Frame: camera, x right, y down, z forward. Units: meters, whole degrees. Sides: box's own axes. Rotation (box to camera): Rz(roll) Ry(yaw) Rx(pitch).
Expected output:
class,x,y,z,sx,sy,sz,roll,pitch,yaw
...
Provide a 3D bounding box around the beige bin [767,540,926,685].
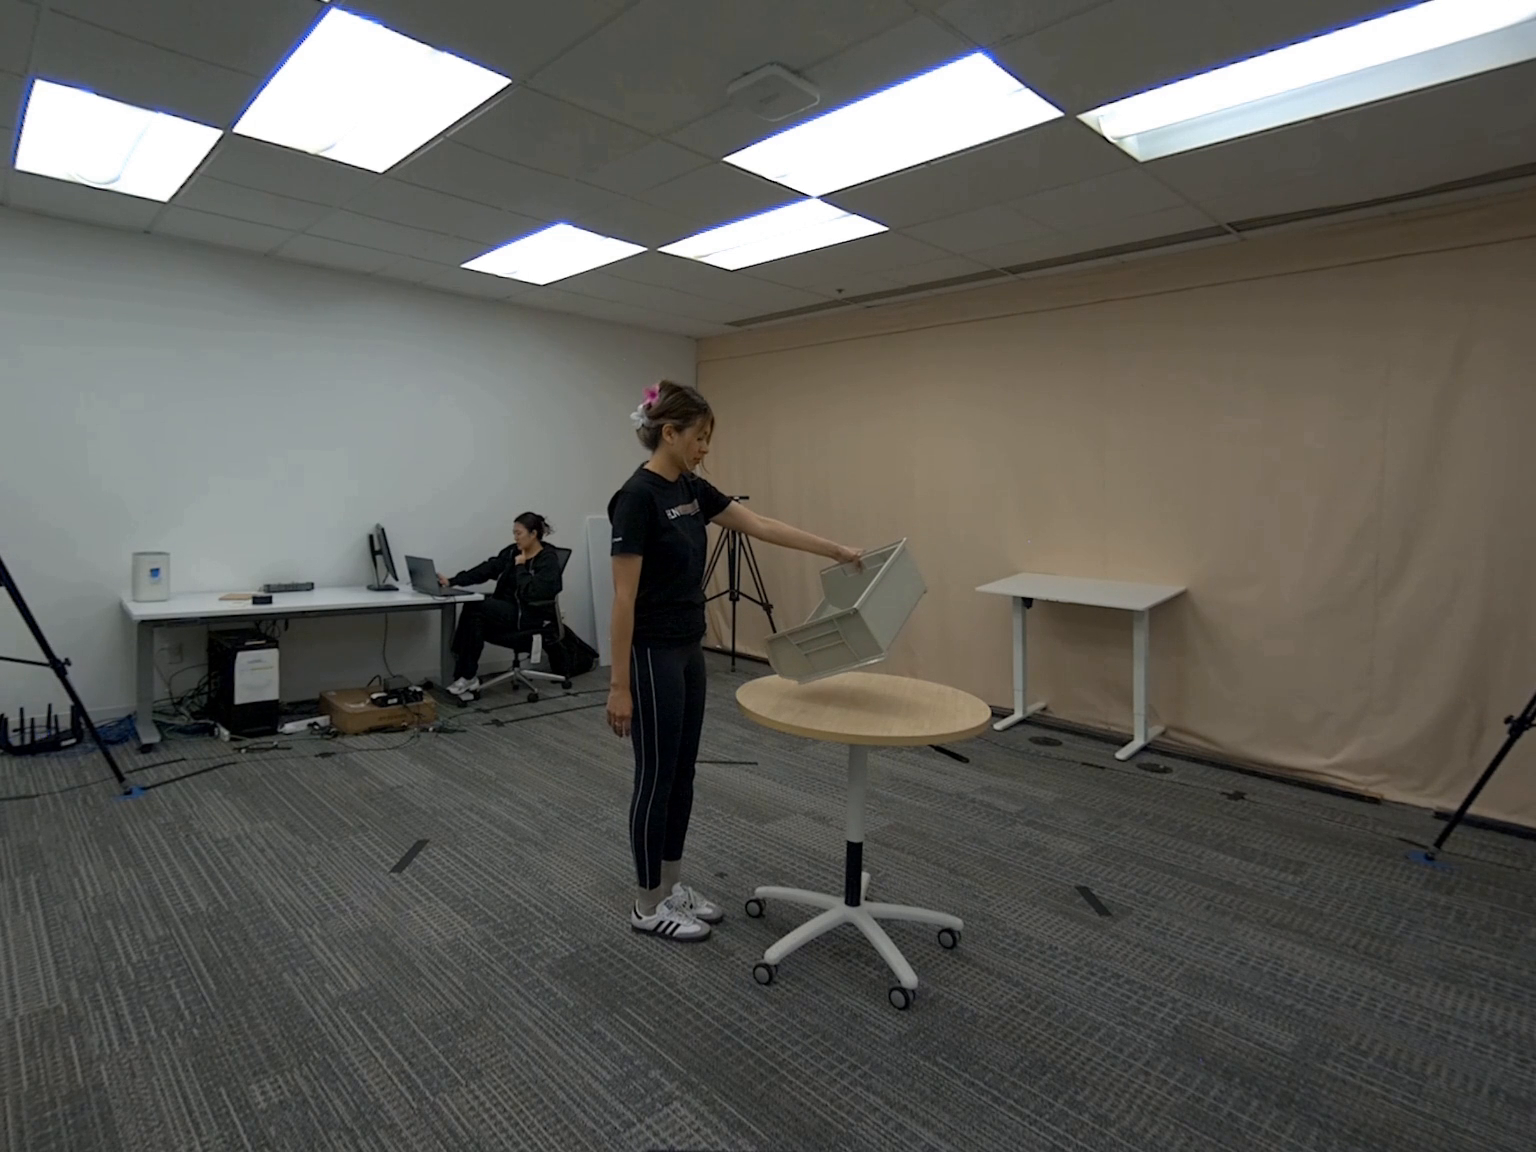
class,x,y,z,sx,sy,sz,roll,pitch,yaw
beige bin,0.232,0.113,2.546,0.382,0.187,0.421,-23,14,39
